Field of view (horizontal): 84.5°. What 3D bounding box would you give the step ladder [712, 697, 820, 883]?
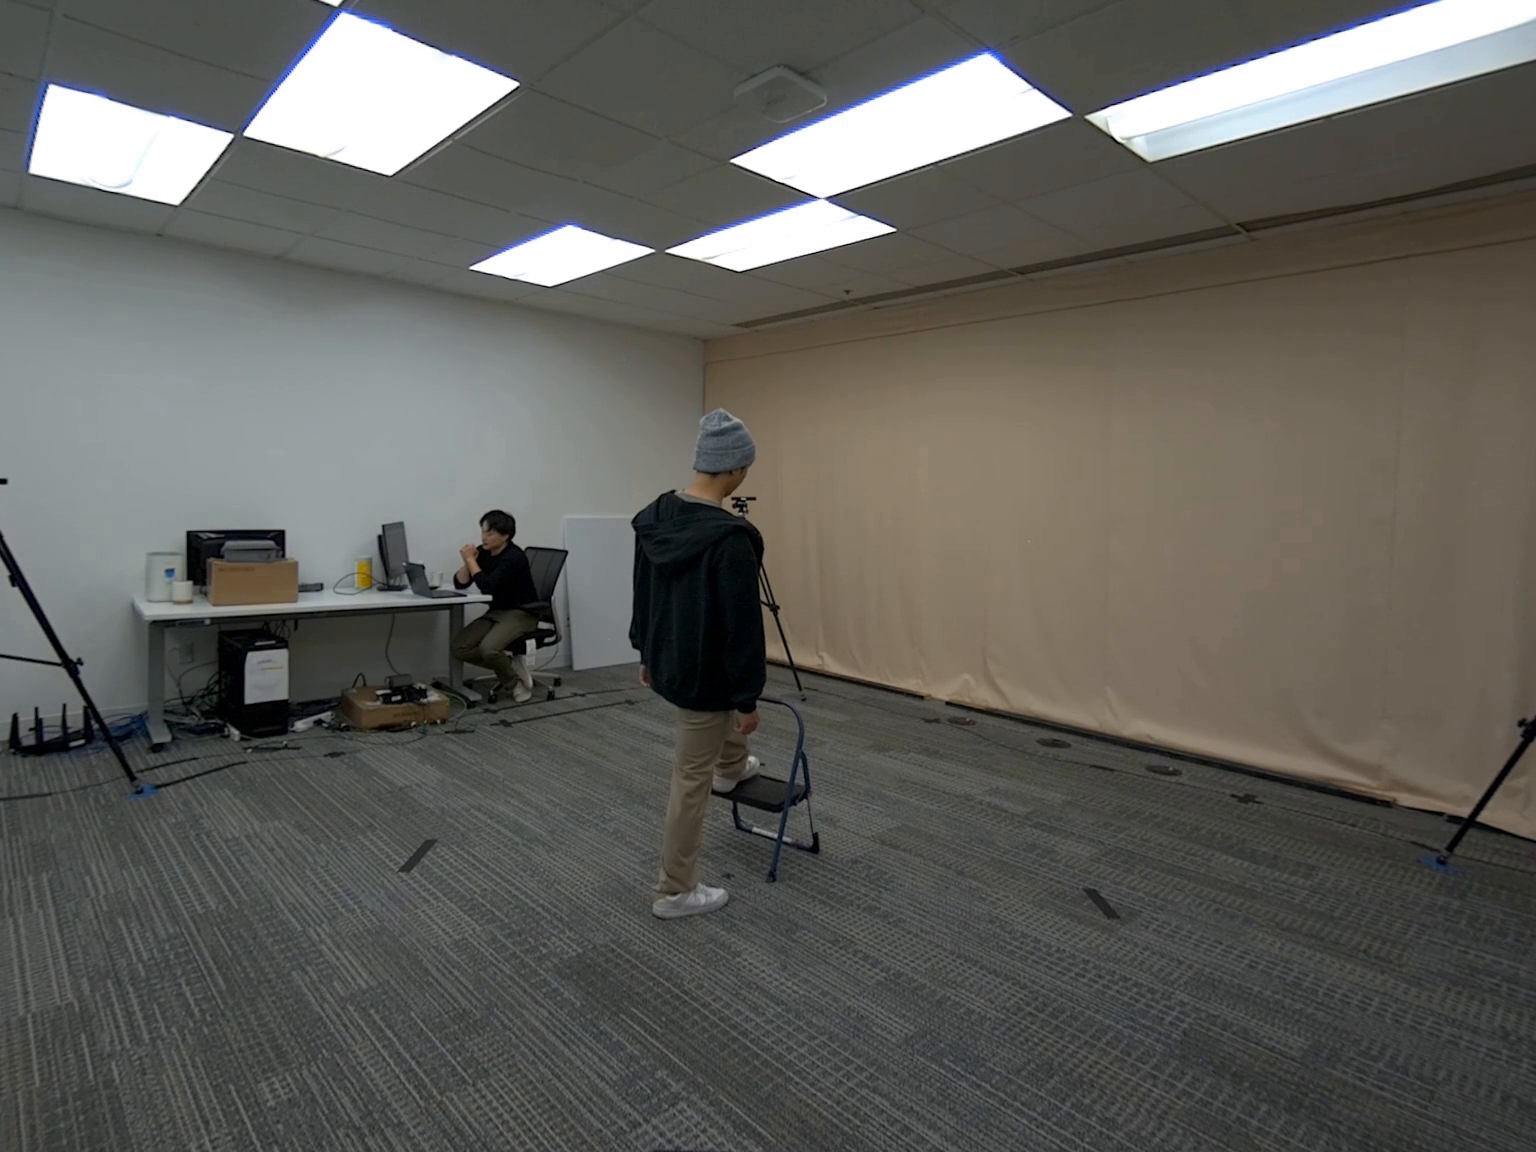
[{"bbox_3d":[-0.054,0.789,3.306,0.441,0.605,0.341,4,4,36],"label":"step ladder"}]
